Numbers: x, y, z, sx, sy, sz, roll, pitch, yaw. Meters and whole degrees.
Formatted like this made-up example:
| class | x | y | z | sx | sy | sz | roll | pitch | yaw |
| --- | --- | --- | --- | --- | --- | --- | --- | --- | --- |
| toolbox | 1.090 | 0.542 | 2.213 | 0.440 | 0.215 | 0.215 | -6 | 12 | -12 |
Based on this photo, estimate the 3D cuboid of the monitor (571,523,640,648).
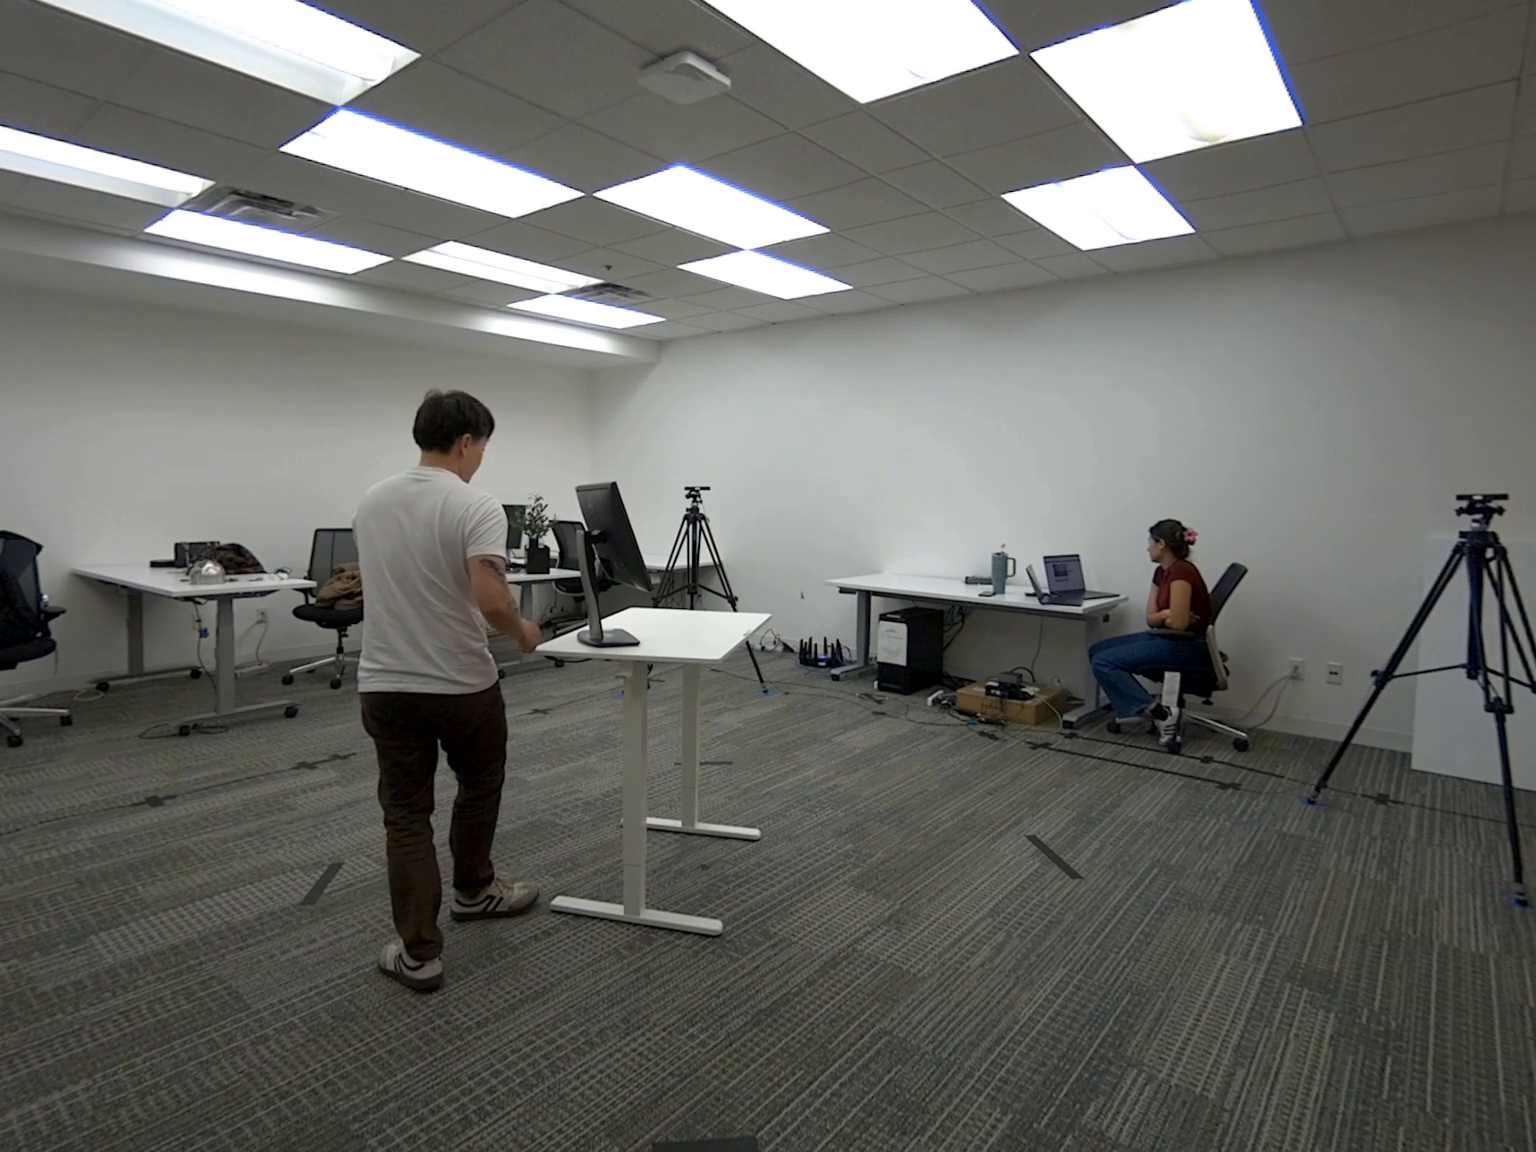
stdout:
| class | x | y | z | sx | sy | sz | roll | pitch | yaw |
| --- | --- | --- | --- | --- | --- | --- | --- | --- | --- |
| monitor | -0.554 | -0.045 | 2.790 | 0.183 | 0.521 | 0.553 | -5 | 5 | -26 |
